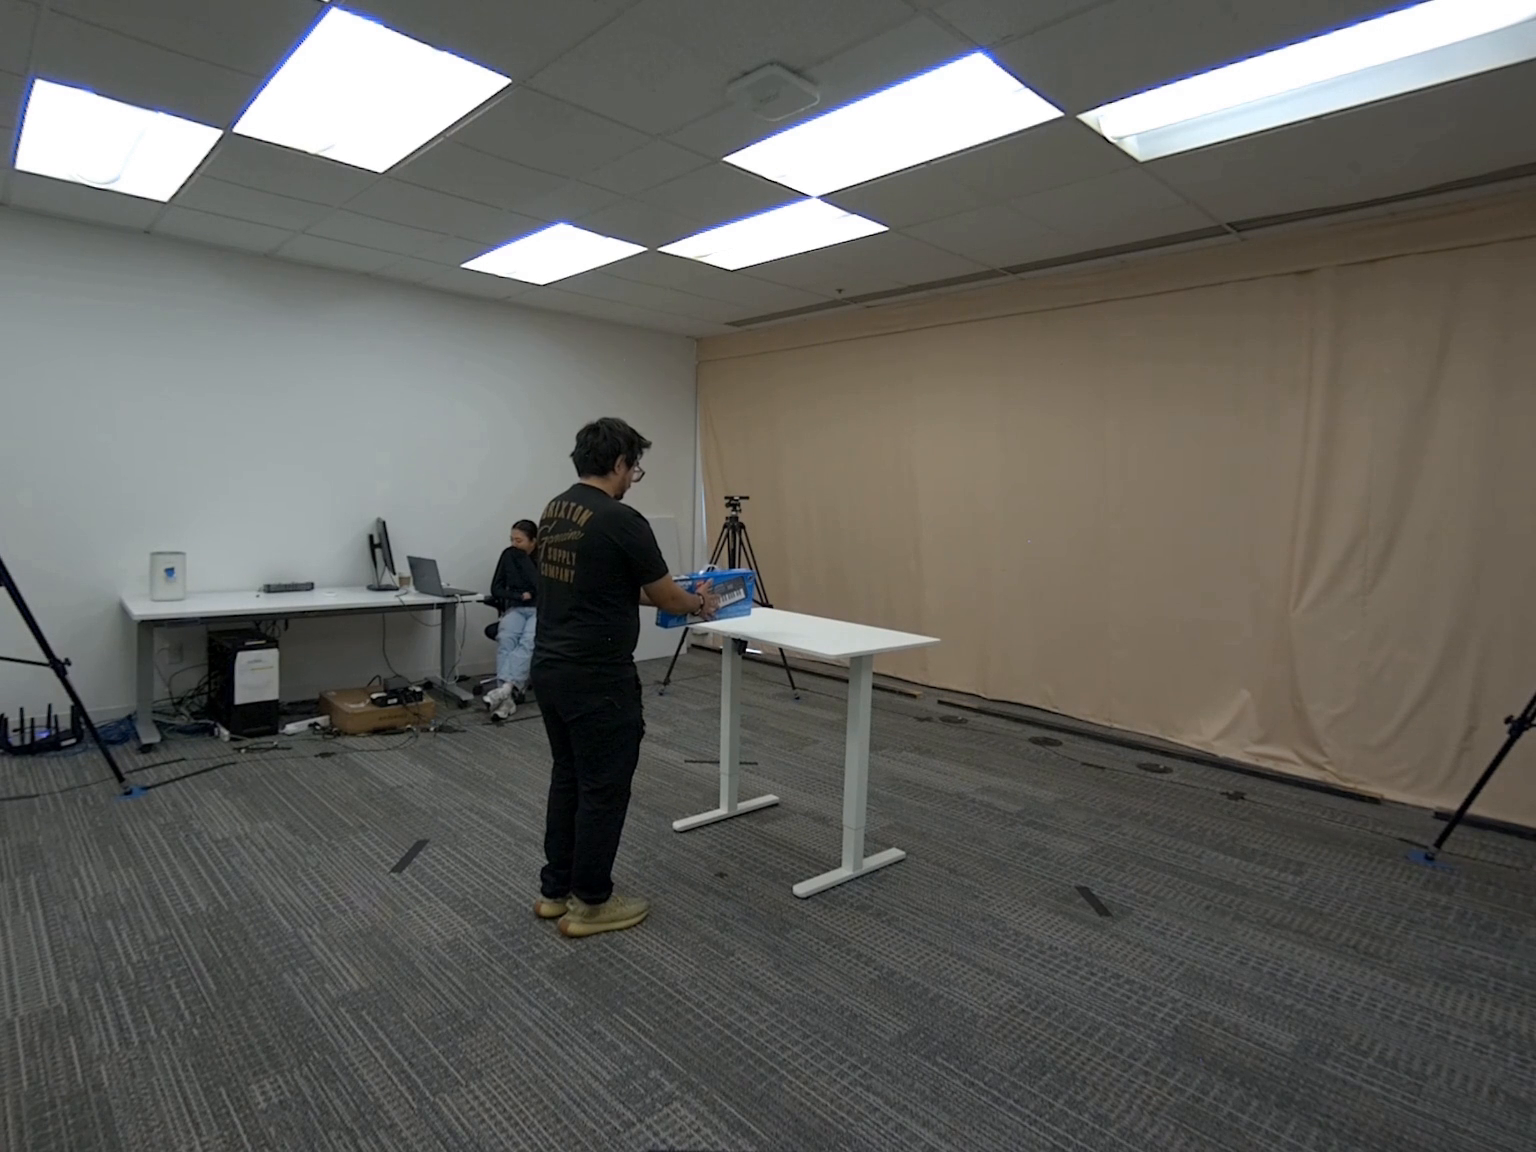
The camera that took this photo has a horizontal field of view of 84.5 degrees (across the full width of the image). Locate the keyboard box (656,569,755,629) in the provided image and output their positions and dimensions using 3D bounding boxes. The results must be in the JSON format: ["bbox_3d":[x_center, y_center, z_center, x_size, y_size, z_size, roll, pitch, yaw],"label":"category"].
[{"bbox_3d":[-0.225,0.082,3.032,0.061,0.175,0.427,12,12,40],"label":"keyboard box"}]
